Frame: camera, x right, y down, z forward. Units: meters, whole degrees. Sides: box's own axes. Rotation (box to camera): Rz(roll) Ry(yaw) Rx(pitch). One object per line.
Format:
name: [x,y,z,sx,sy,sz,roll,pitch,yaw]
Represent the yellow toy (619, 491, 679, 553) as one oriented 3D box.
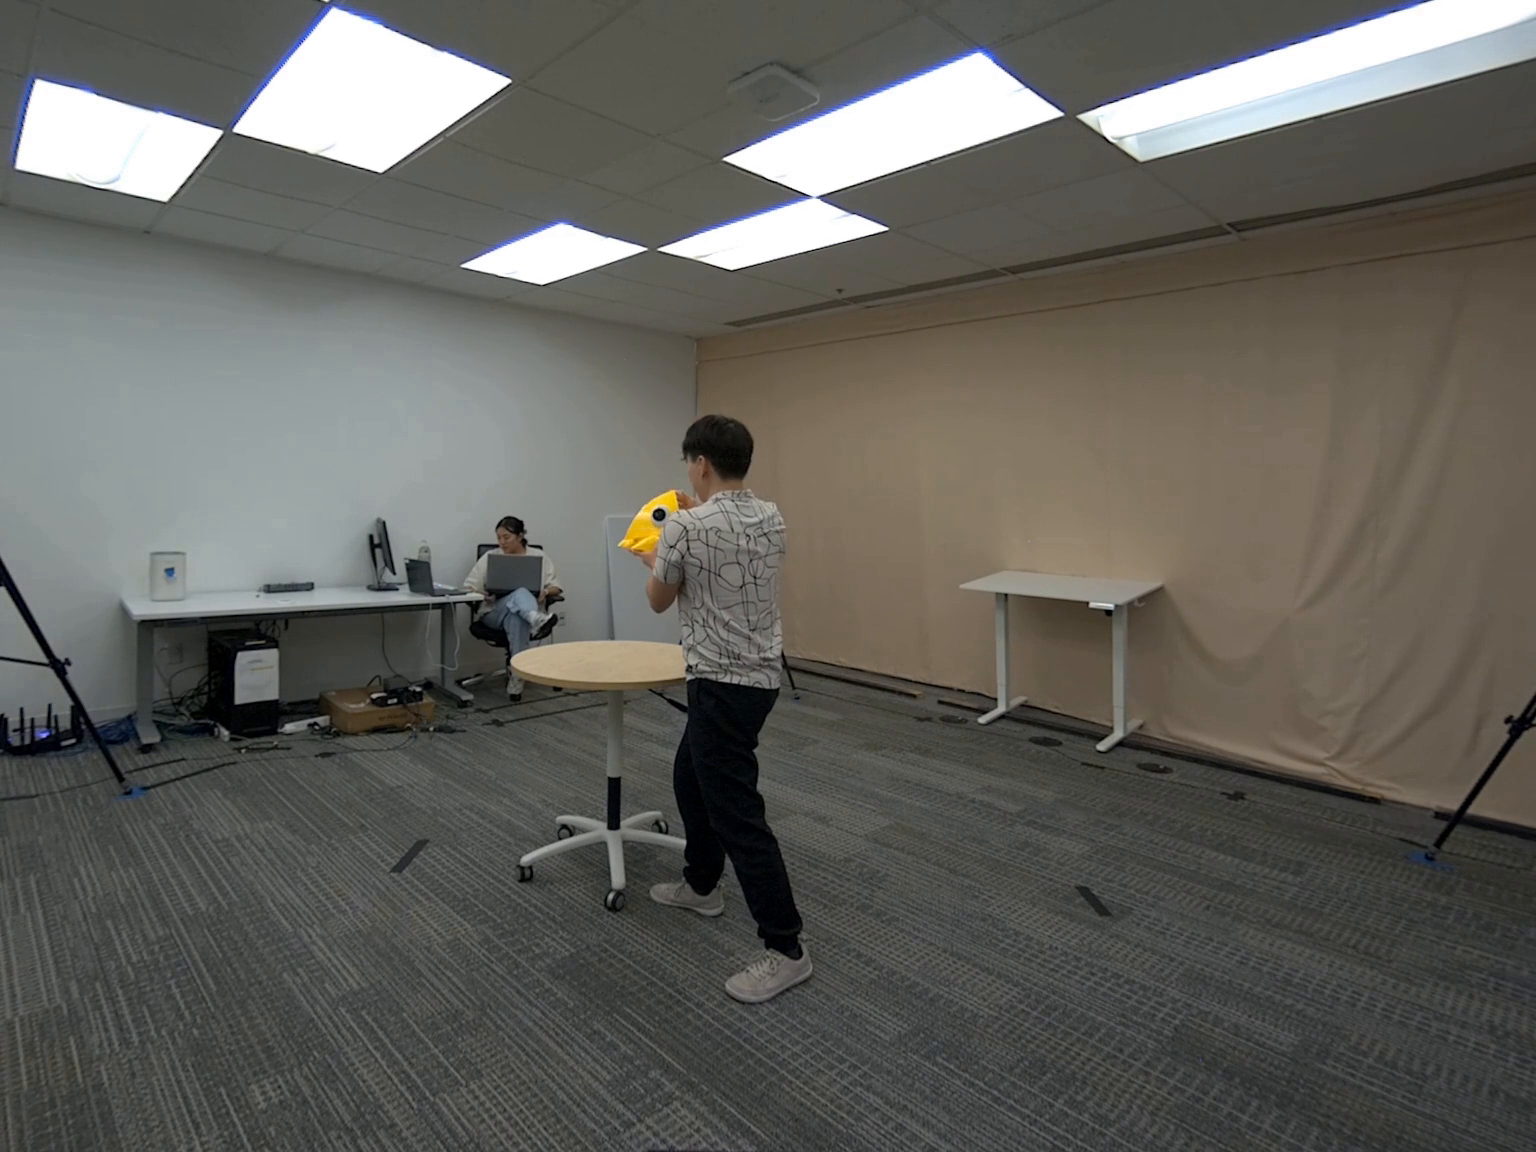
yellow toy: [-0.405,-0.197,2.965,0.188,0.231,0.209,10,-1,-32]
